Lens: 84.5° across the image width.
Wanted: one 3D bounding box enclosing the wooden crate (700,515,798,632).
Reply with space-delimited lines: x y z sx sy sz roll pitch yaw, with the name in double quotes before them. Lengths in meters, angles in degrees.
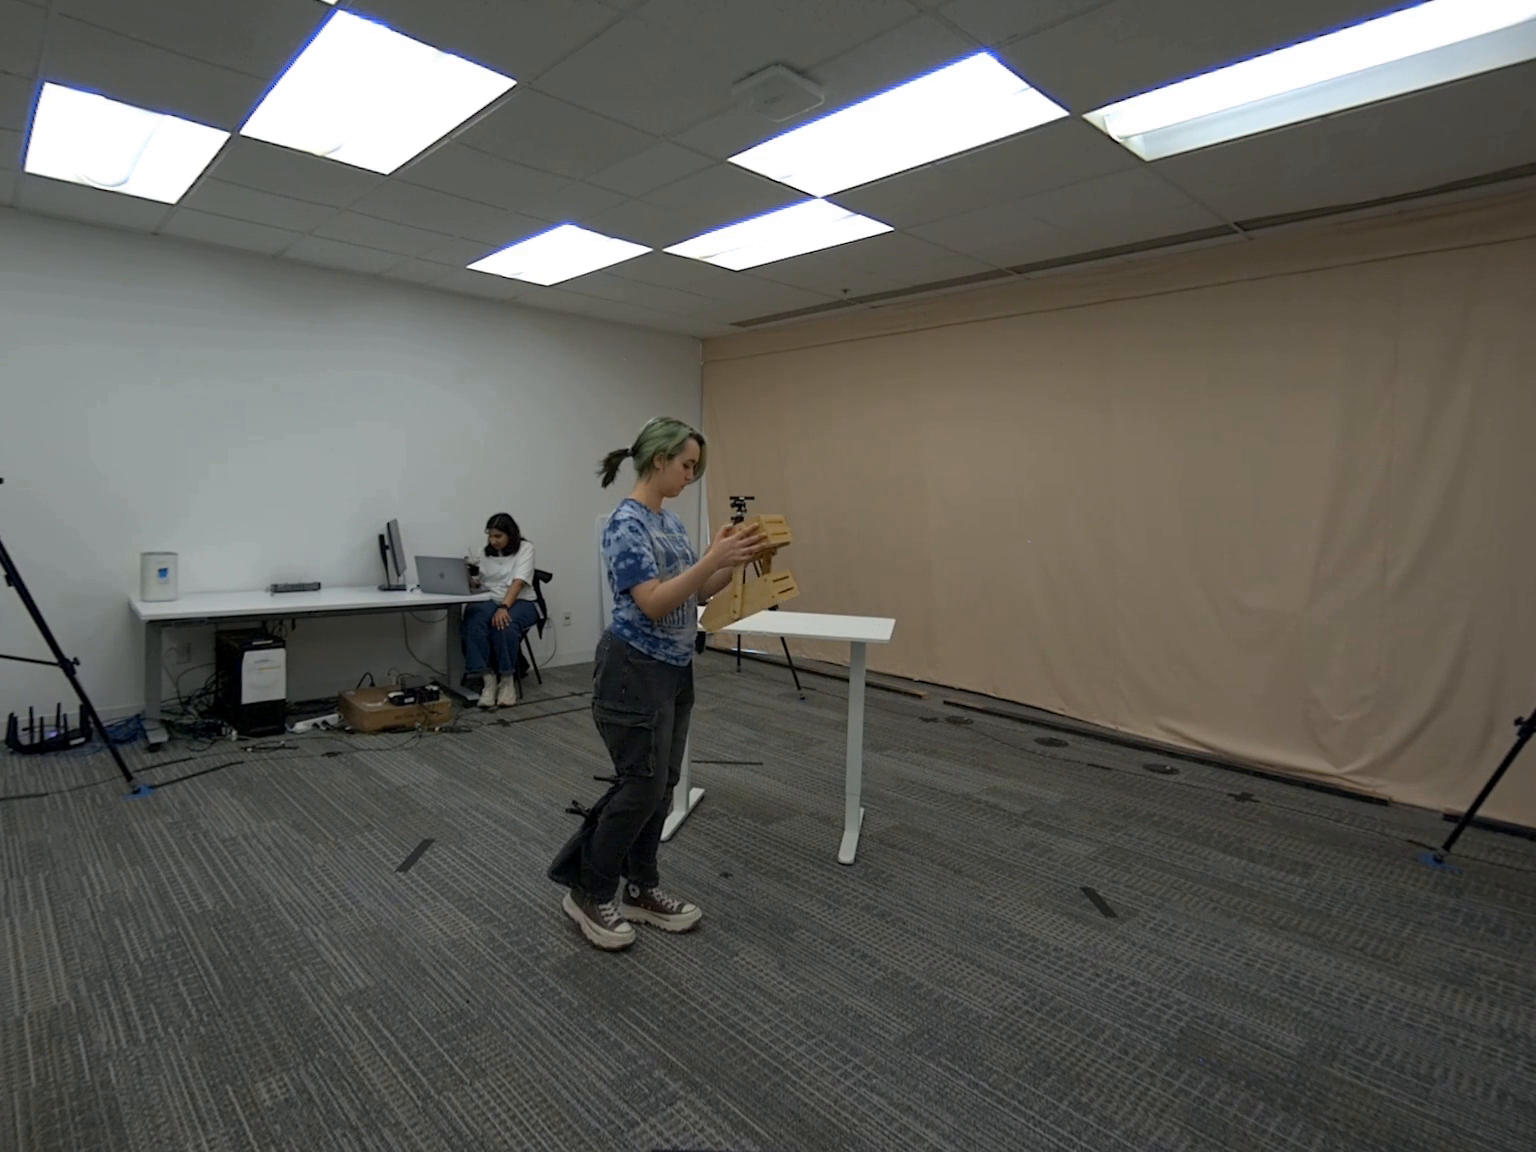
"wooden crate" -0.084 -0.015 2.608 0.304 0.275 0.321 -24 -4 16
